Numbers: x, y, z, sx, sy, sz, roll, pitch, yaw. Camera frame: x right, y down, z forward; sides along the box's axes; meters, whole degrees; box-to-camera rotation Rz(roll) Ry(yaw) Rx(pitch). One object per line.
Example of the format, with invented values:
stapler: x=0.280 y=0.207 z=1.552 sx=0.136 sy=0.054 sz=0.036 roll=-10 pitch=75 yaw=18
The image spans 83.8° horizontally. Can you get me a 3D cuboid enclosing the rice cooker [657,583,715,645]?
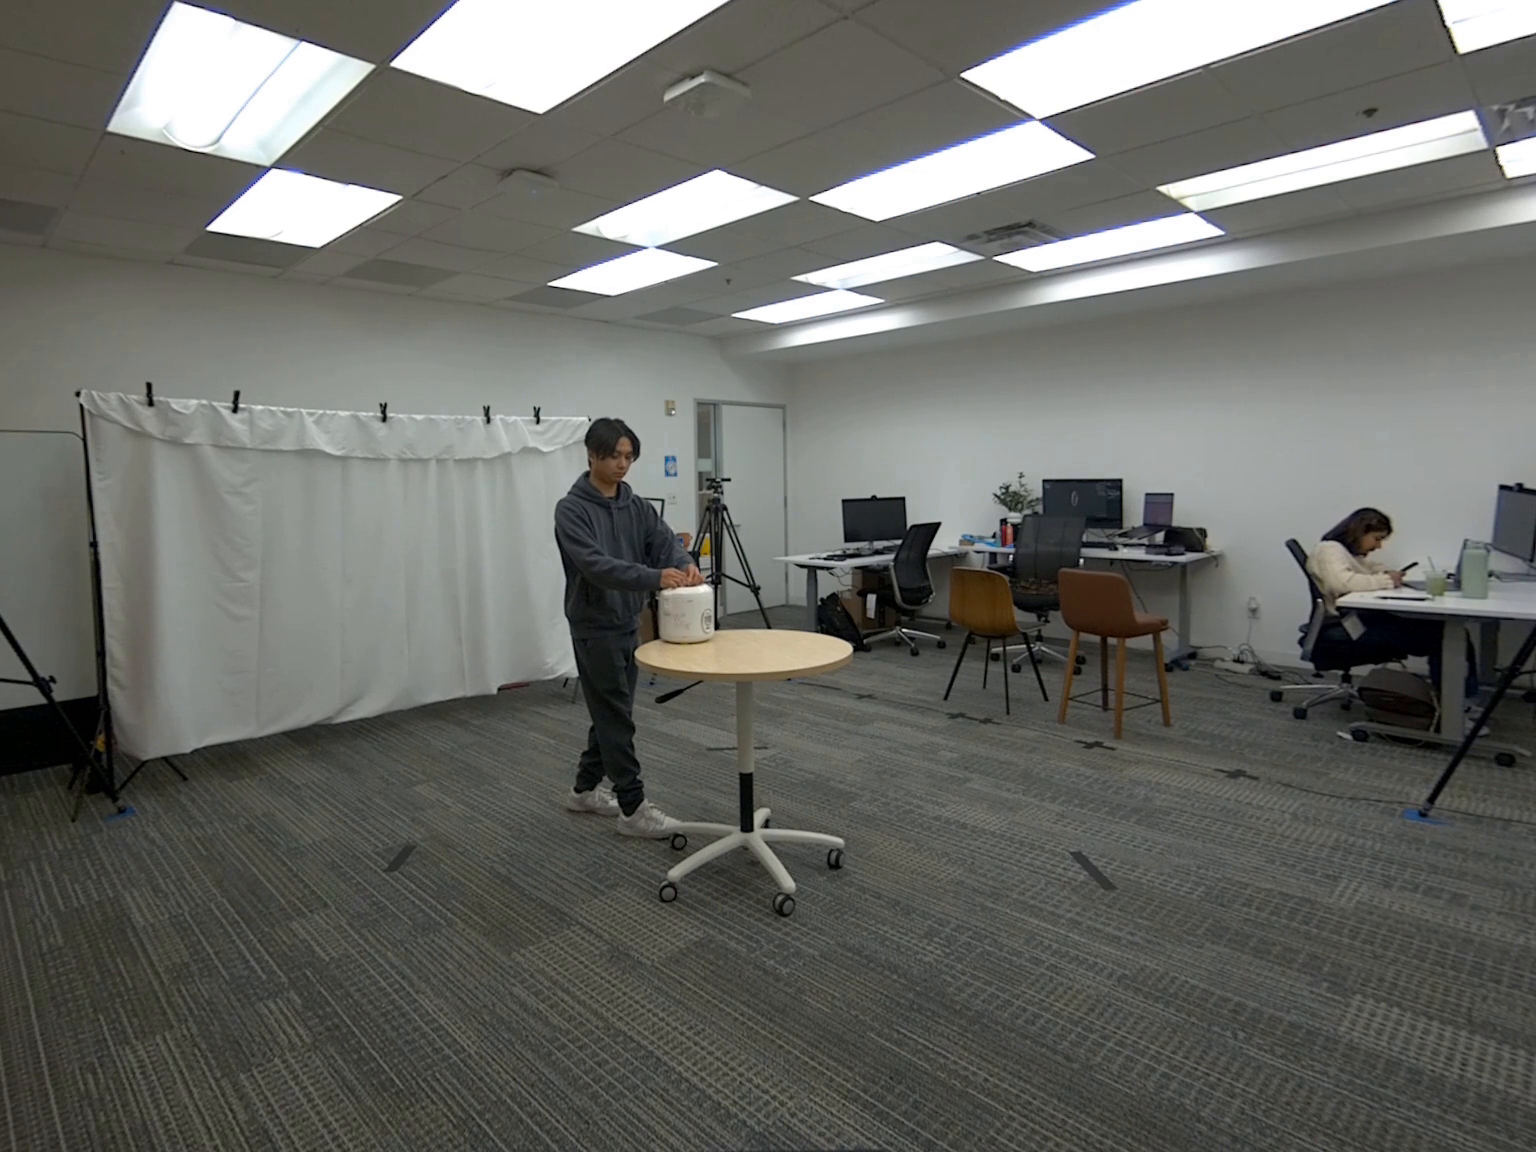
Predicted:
rice cooker: x=-0.303 y=0.125 z=3.201 sx=0.223 sy=0.232 sz=0.215 roll=-2 pitch=4 yaw=40
